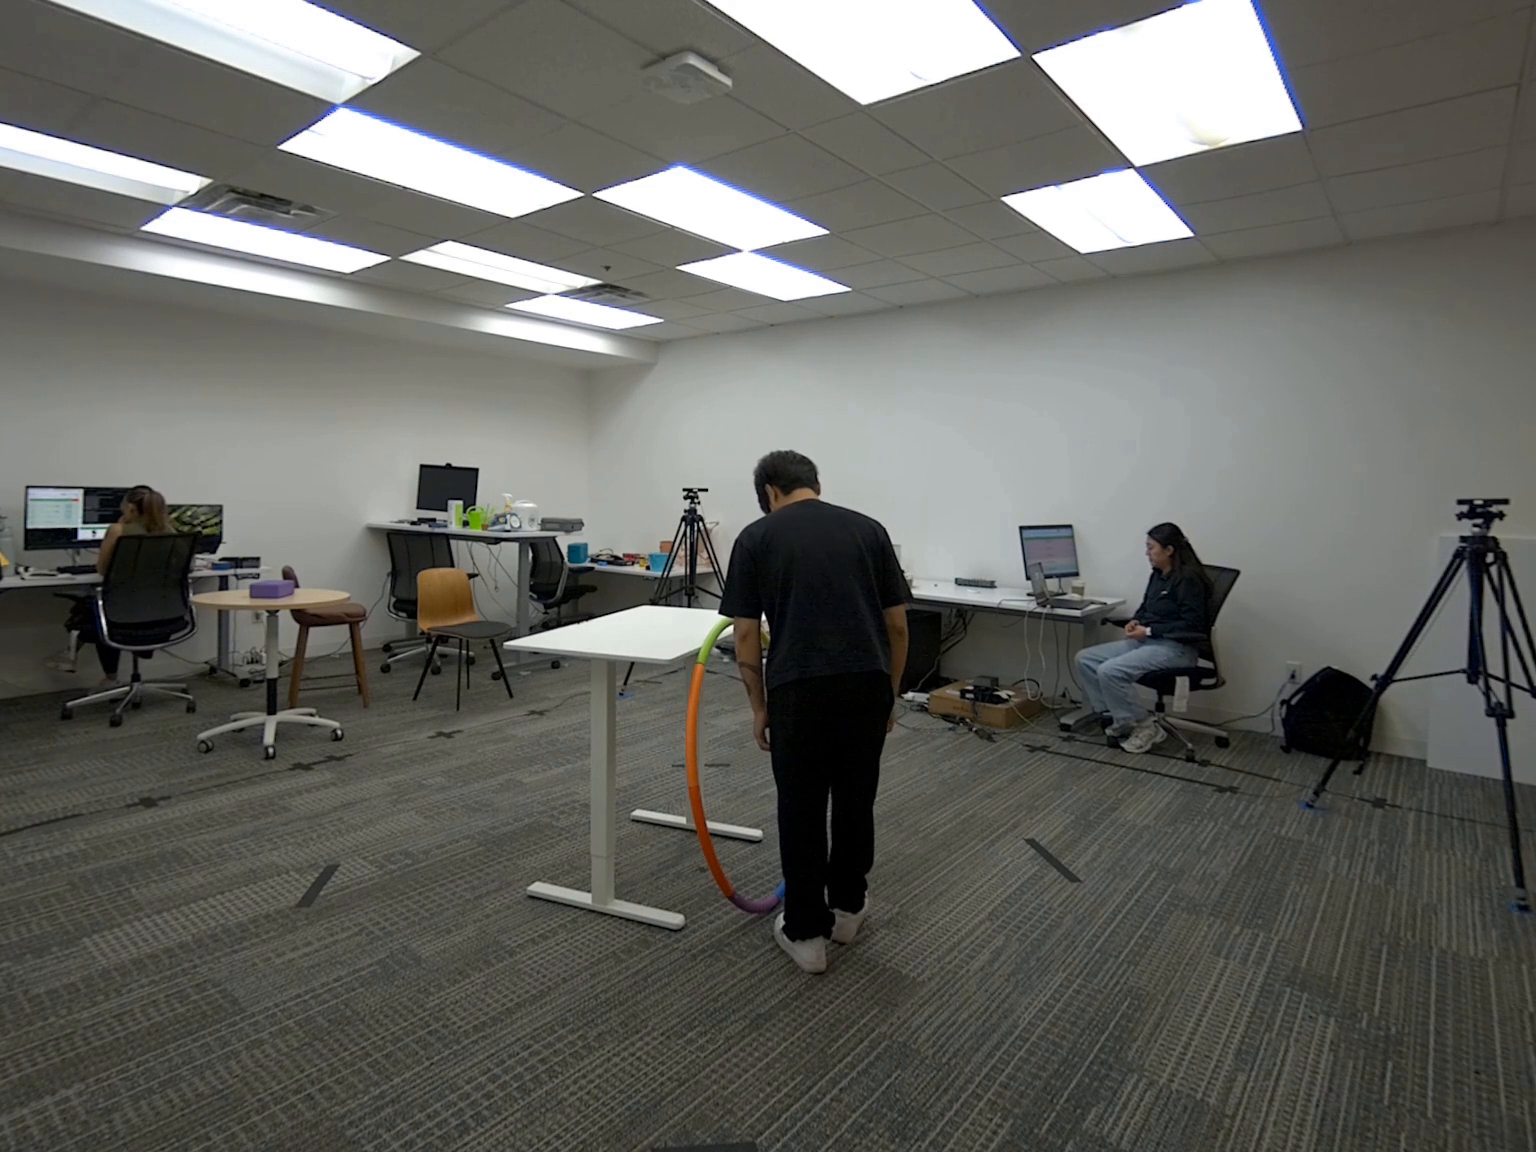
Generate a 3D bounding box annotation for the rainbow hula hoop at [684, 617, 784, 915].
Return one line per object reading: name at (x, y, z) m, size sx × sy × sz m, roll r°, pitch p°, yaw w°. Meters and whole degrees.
rainbow hula hoop at (-0.046, 0.620, 2.912) m, size 0.036 × 0.980 × 0.960 m, roll -11°, pitch -1°, yaw 20°
